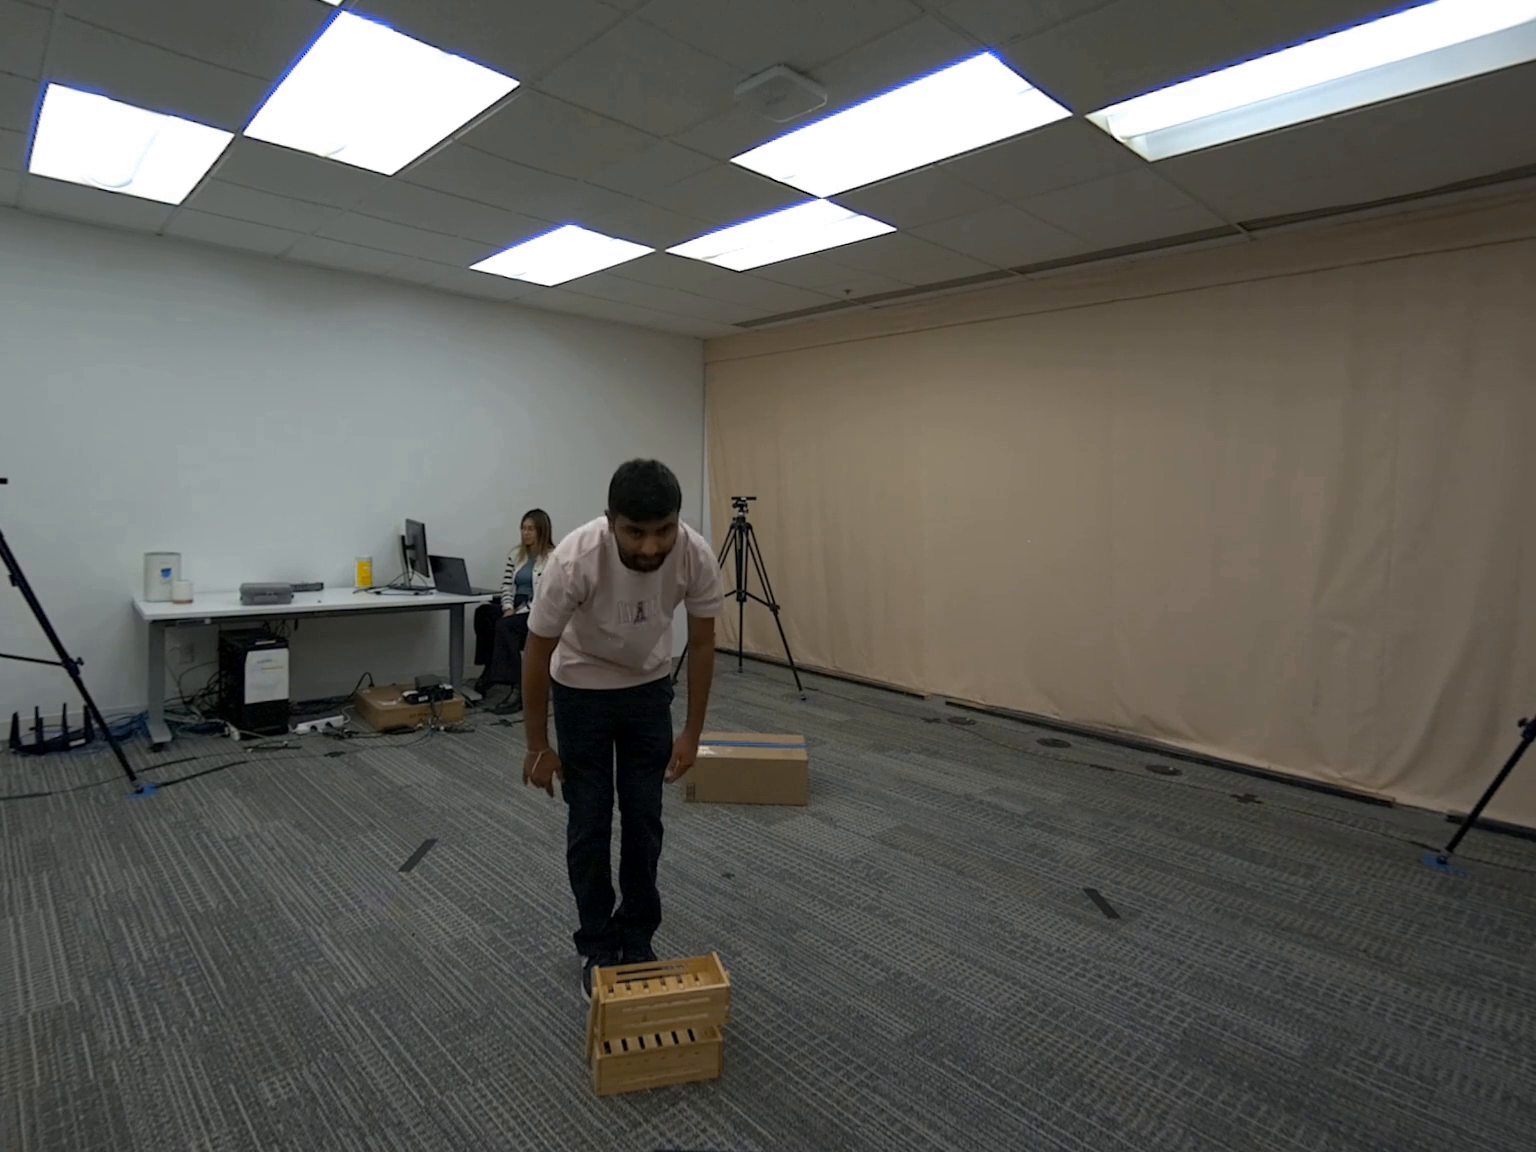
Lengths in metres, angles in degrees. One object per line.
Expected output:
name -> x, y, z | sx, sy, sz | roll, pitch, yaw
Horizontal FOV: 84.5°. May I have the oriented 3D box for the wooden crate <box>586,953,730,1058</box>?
wooden crate -> -0.285, 1.058, 2.077 | 0.320, 0.272, 0.307 | 0, 5, -16
